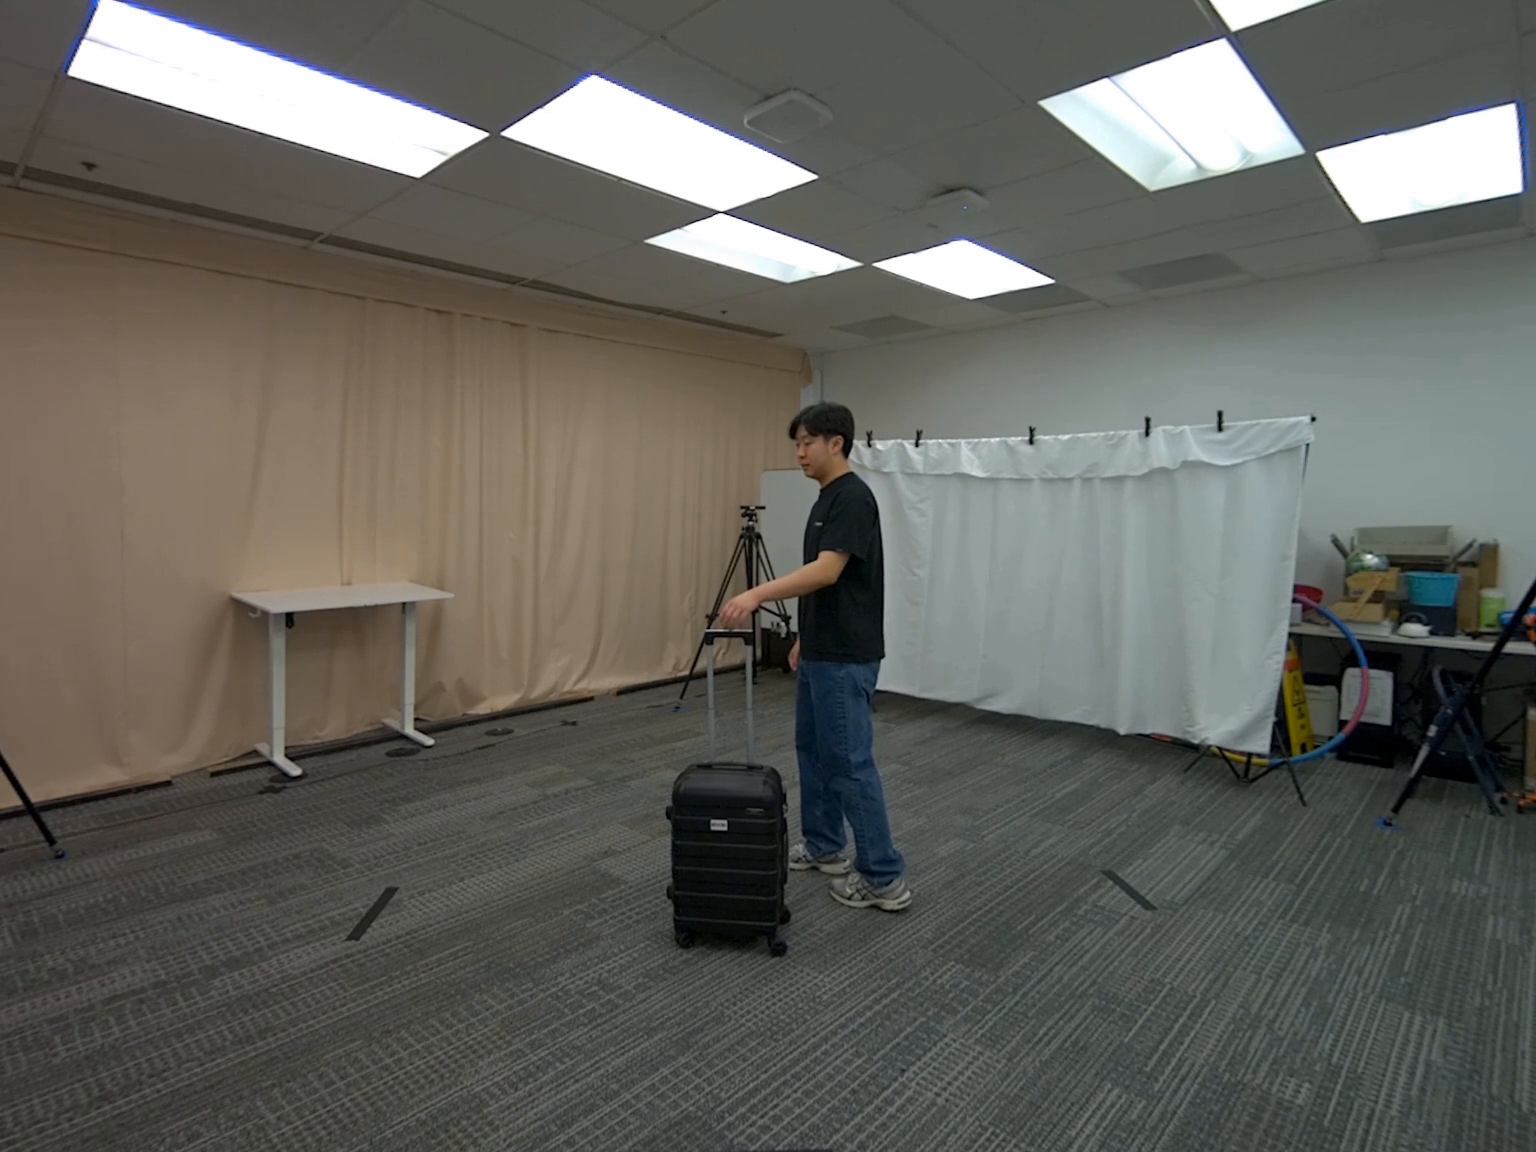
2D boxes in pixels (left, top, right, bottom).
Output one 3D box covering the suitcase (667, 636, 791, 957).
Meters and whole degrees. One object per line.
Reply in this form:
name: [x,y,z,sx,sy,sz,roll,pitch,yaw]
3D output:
suitcase: [-0.131,0.690,2.703,0.387,0.976,0.255,-1,4,8]
